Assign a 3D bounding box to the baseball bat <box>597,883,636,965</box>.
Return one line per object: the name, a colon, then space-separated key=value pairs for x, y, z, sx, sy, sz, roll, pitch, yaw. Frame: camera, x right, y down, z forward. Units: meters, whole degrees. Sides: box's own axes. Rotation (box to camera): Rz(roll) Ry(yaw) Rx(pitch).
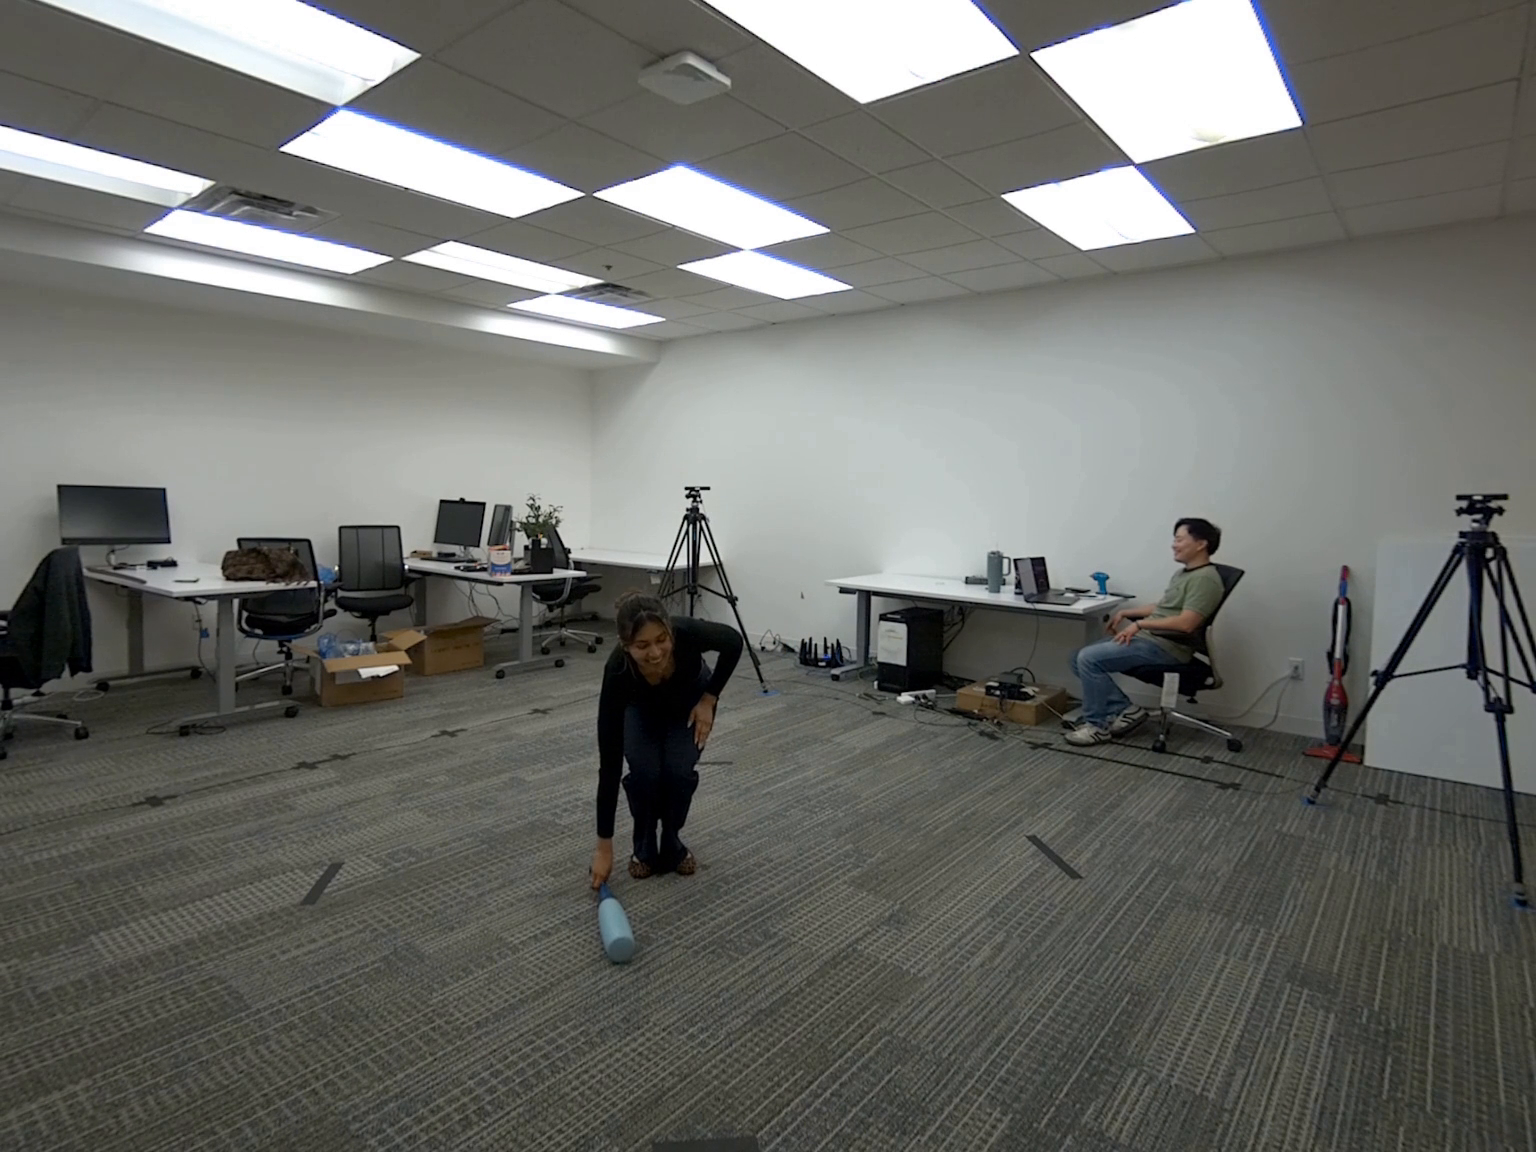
baseball bat: x=-0.522 y=1.055 z=2.716 sx=0.087 sy=0.089 sz=0.554 roll=-1 pitch=5 yaw=-18
